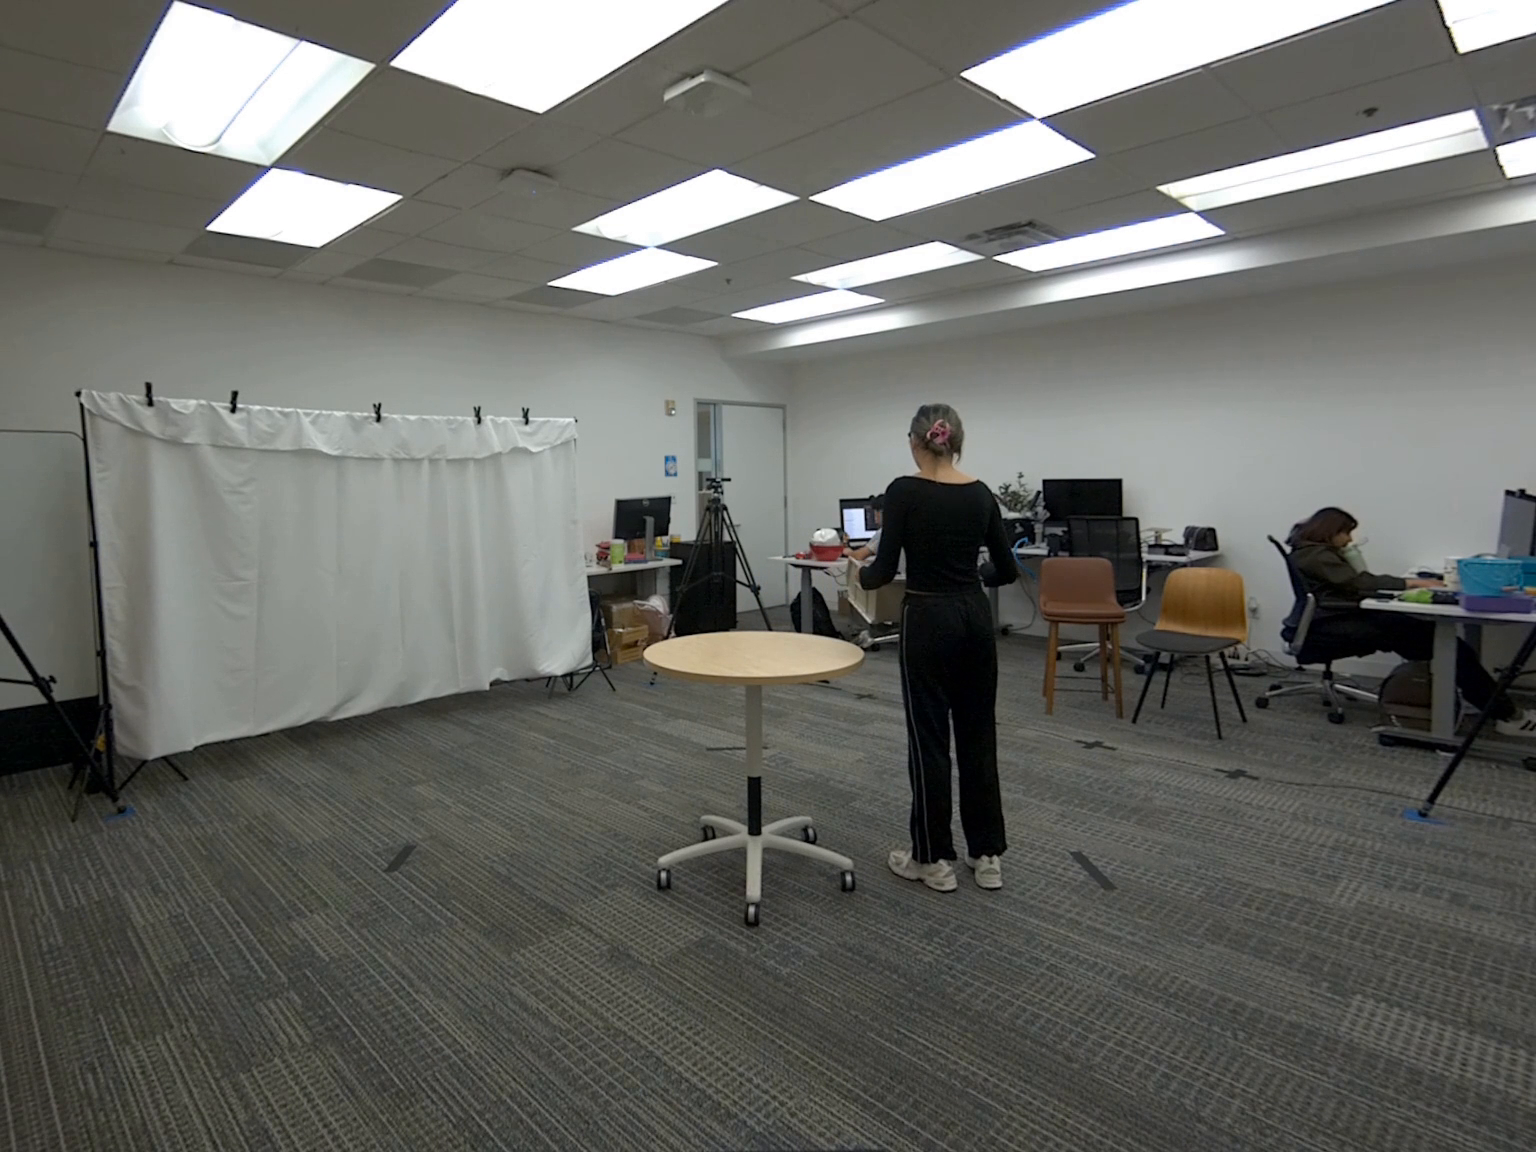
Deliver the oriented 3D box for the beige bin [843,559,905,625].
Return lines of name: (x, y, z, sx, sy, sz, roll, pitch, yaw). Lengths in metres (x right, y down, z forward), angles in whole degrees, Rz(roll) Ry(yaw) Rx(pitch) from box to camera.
beige bin: (0.550, 0.044, 3.338, 0.419, 0.186, 0.385, 0, 16, -8)
